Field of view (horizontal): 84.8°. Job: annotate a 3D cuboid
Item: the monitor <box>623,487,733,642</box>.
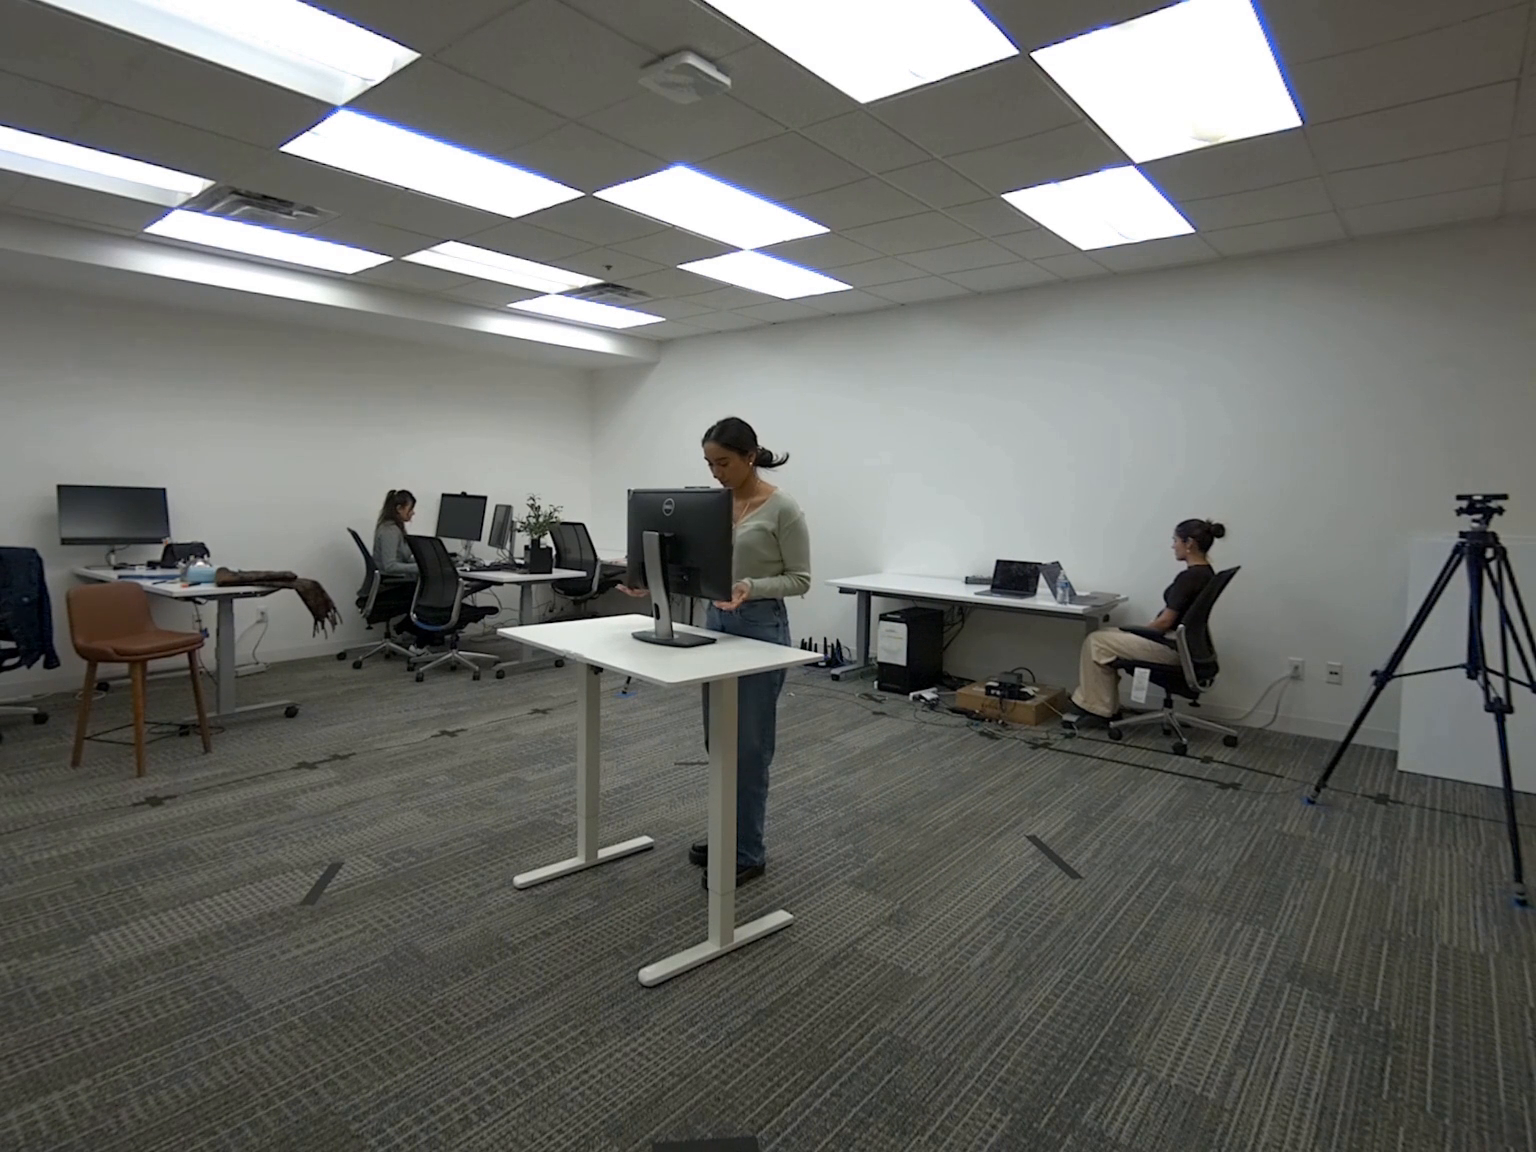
[{"bbox_3d":[-0.327,-0.031,2.801,0.181,0.522,0.557,4,1,-44],"label":"monitor"}]
